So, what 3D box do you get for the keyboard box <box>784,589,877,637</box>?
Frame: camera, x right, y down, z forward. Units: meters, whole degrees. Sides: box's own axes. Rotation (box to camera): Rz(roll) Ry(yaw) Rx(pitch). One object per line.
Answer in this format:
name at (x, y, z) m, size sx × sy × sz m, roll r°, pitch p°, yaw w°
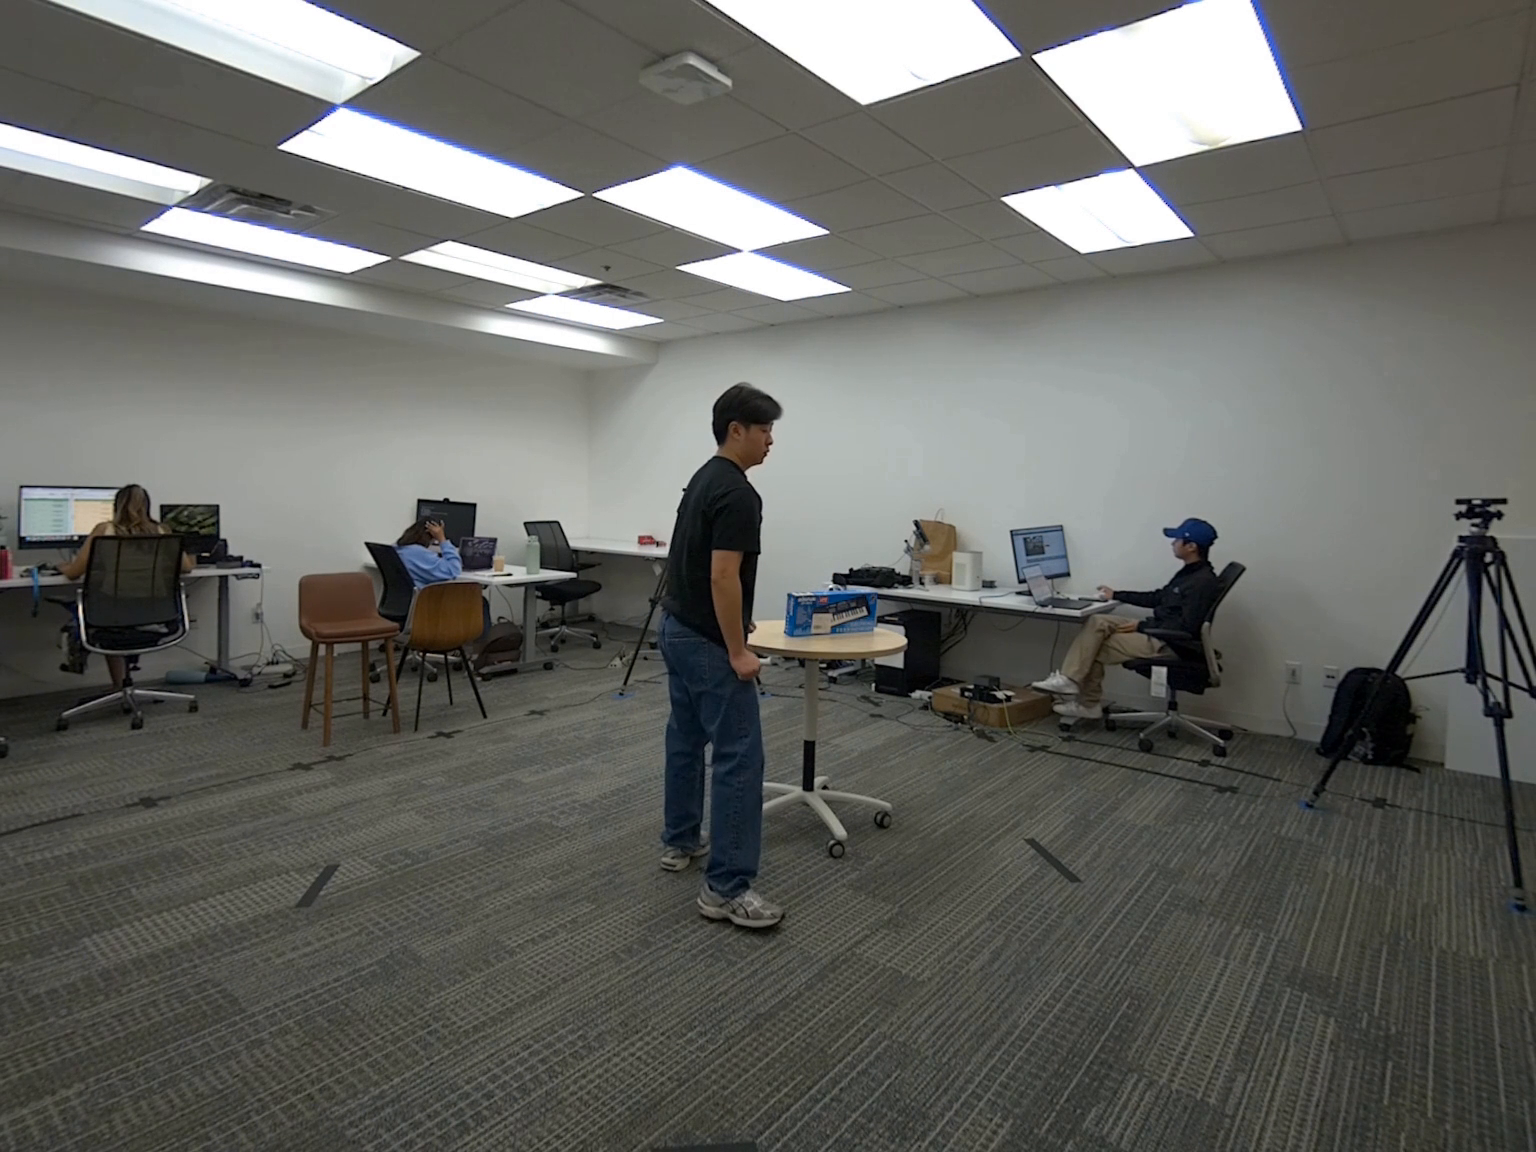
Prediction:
keyboard box at (0.260, 0.151, 3.572) m, size 0.425 × 0.175 × 0.061 m, roll -1°, pitch 9°, yaw -31°
